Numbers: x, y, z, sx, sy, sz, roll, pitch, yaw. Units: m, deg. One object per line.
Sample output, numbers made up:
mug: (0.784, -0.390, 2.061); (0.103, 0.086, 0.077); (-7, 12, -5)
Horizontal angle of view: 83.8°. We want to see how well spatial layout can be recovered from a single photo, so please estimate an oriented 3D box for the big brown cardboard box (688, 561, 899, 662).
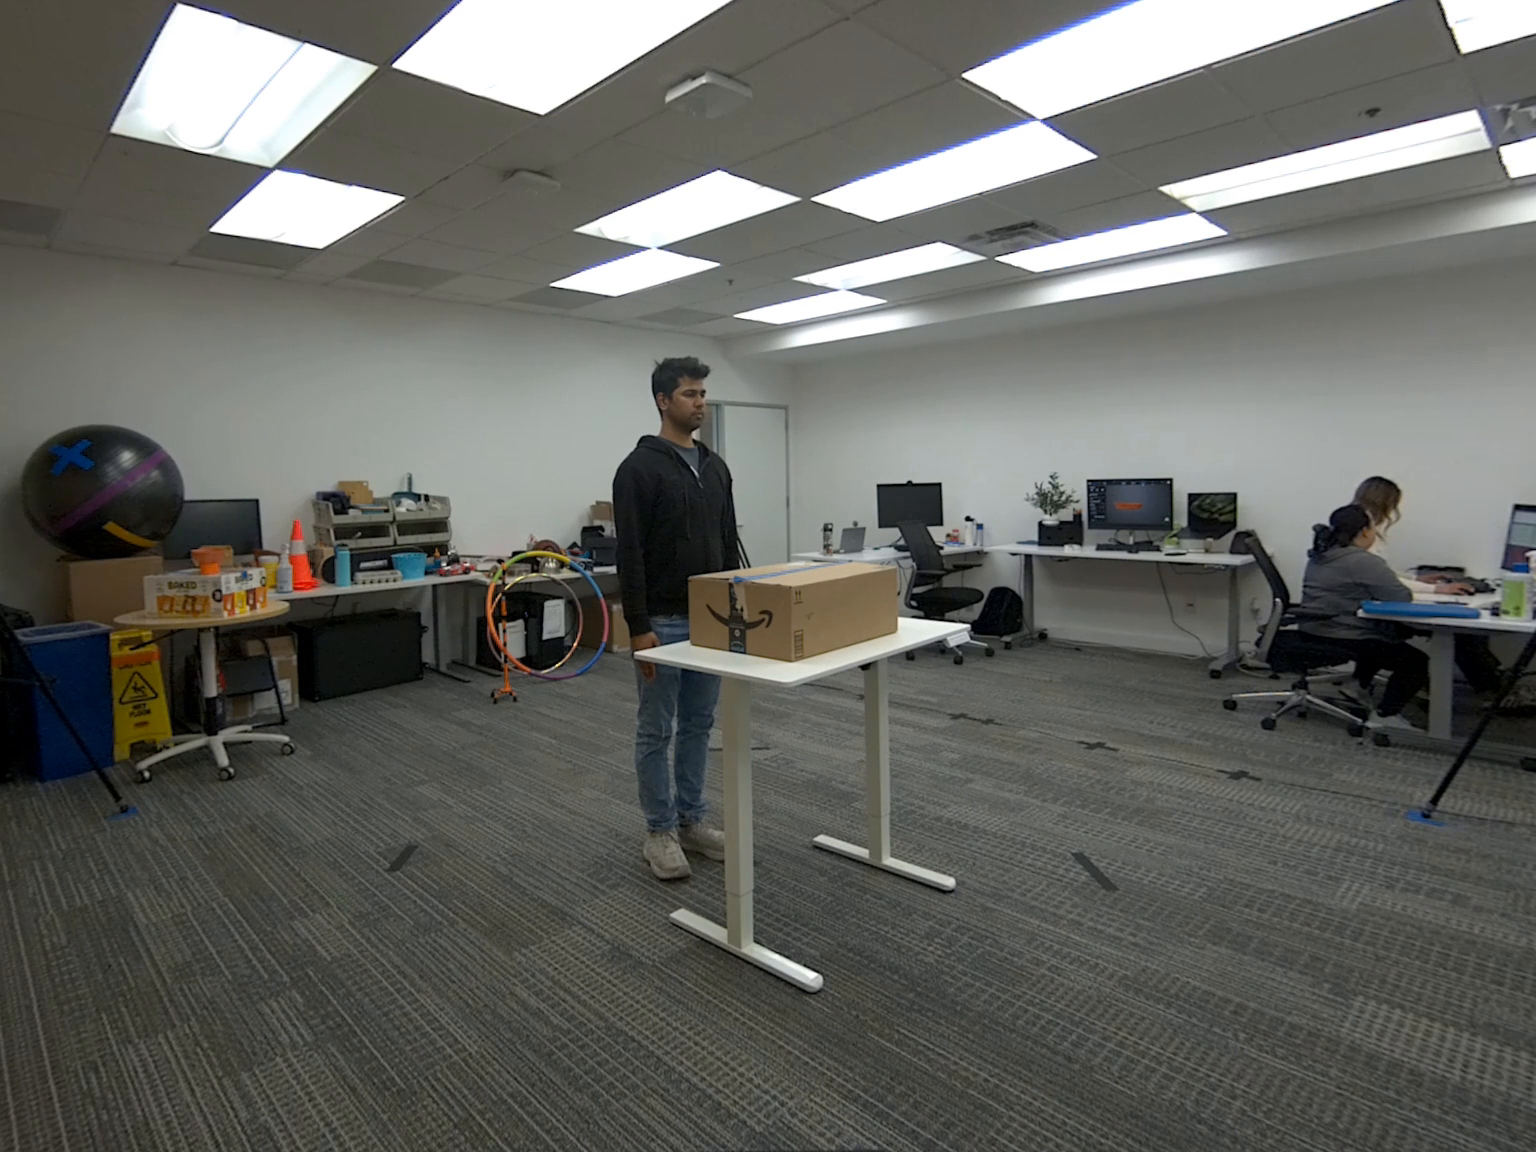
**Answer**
big brown cardboard box: (0.089, 0.091, 2.744); (0.430, 0.232, 0.574); (4, 9, 41)
